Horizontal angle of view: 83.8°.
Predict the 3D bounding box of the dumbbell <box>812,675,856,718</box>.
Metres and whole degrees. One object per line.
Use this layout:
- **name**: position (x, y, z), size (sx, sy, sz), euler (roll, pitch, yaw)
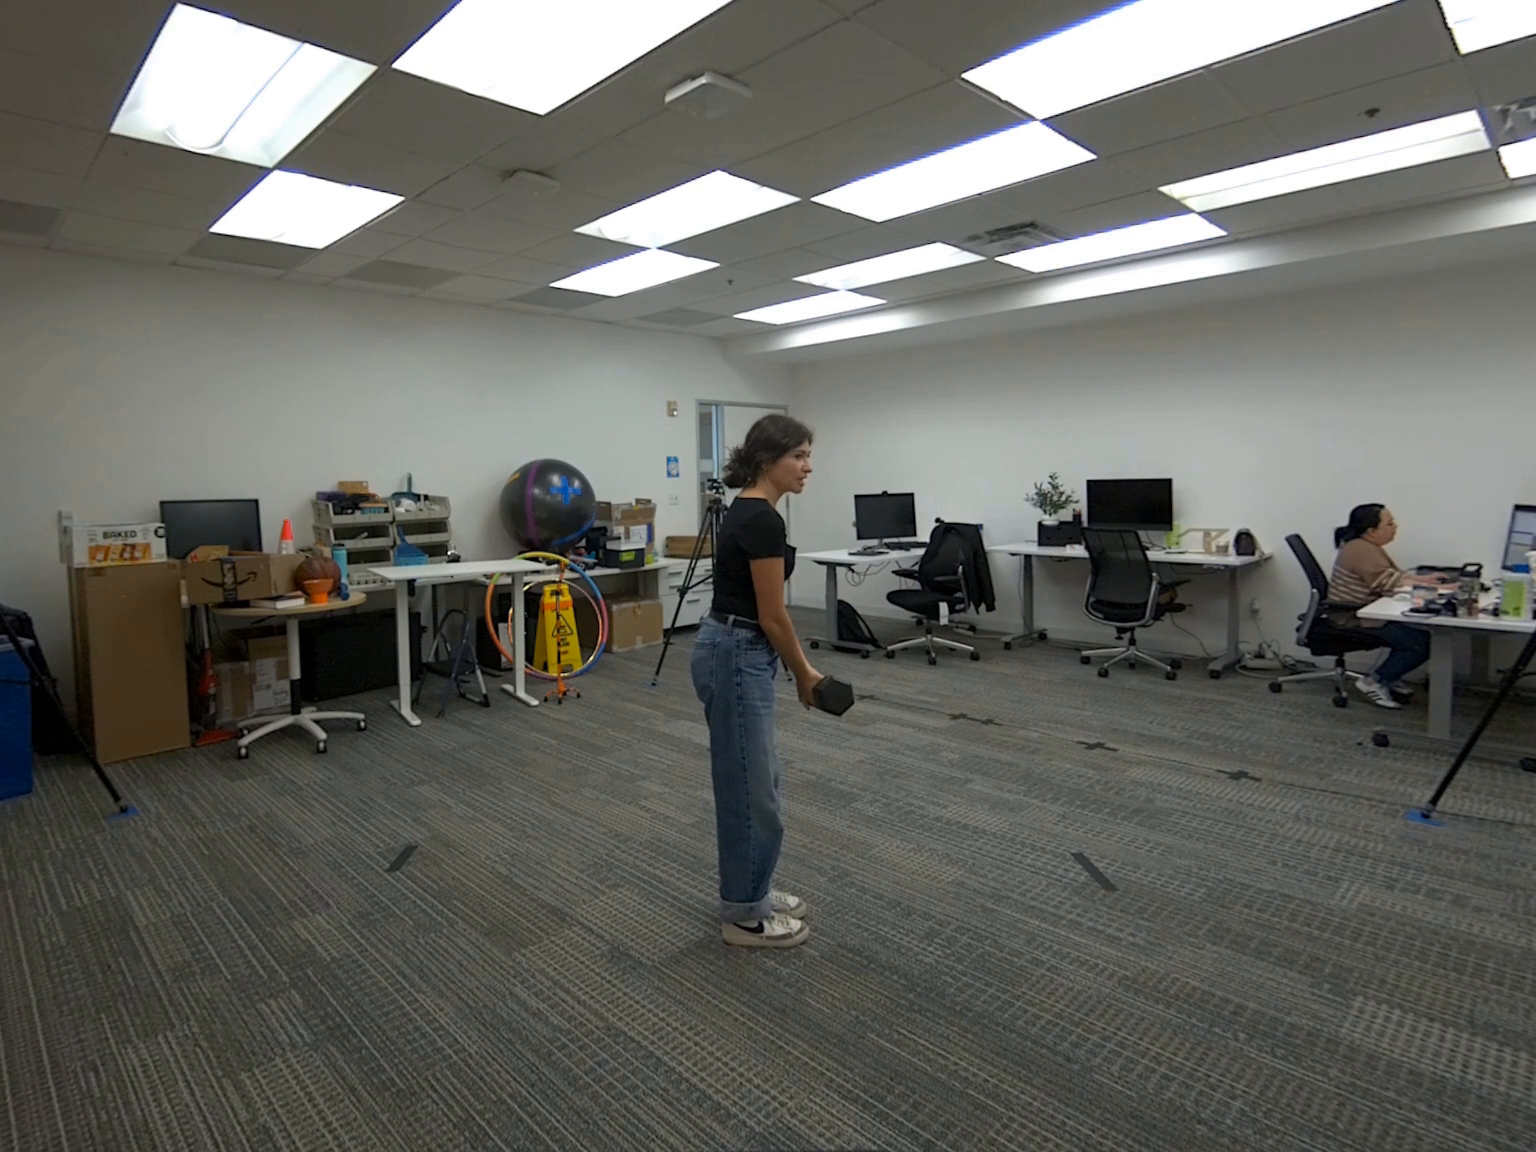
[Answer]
- **dumbbell**: position (0.181, 0.352, 2.634), size (0.108, 0.123, 0.294), euler (-10, -2, -10)
